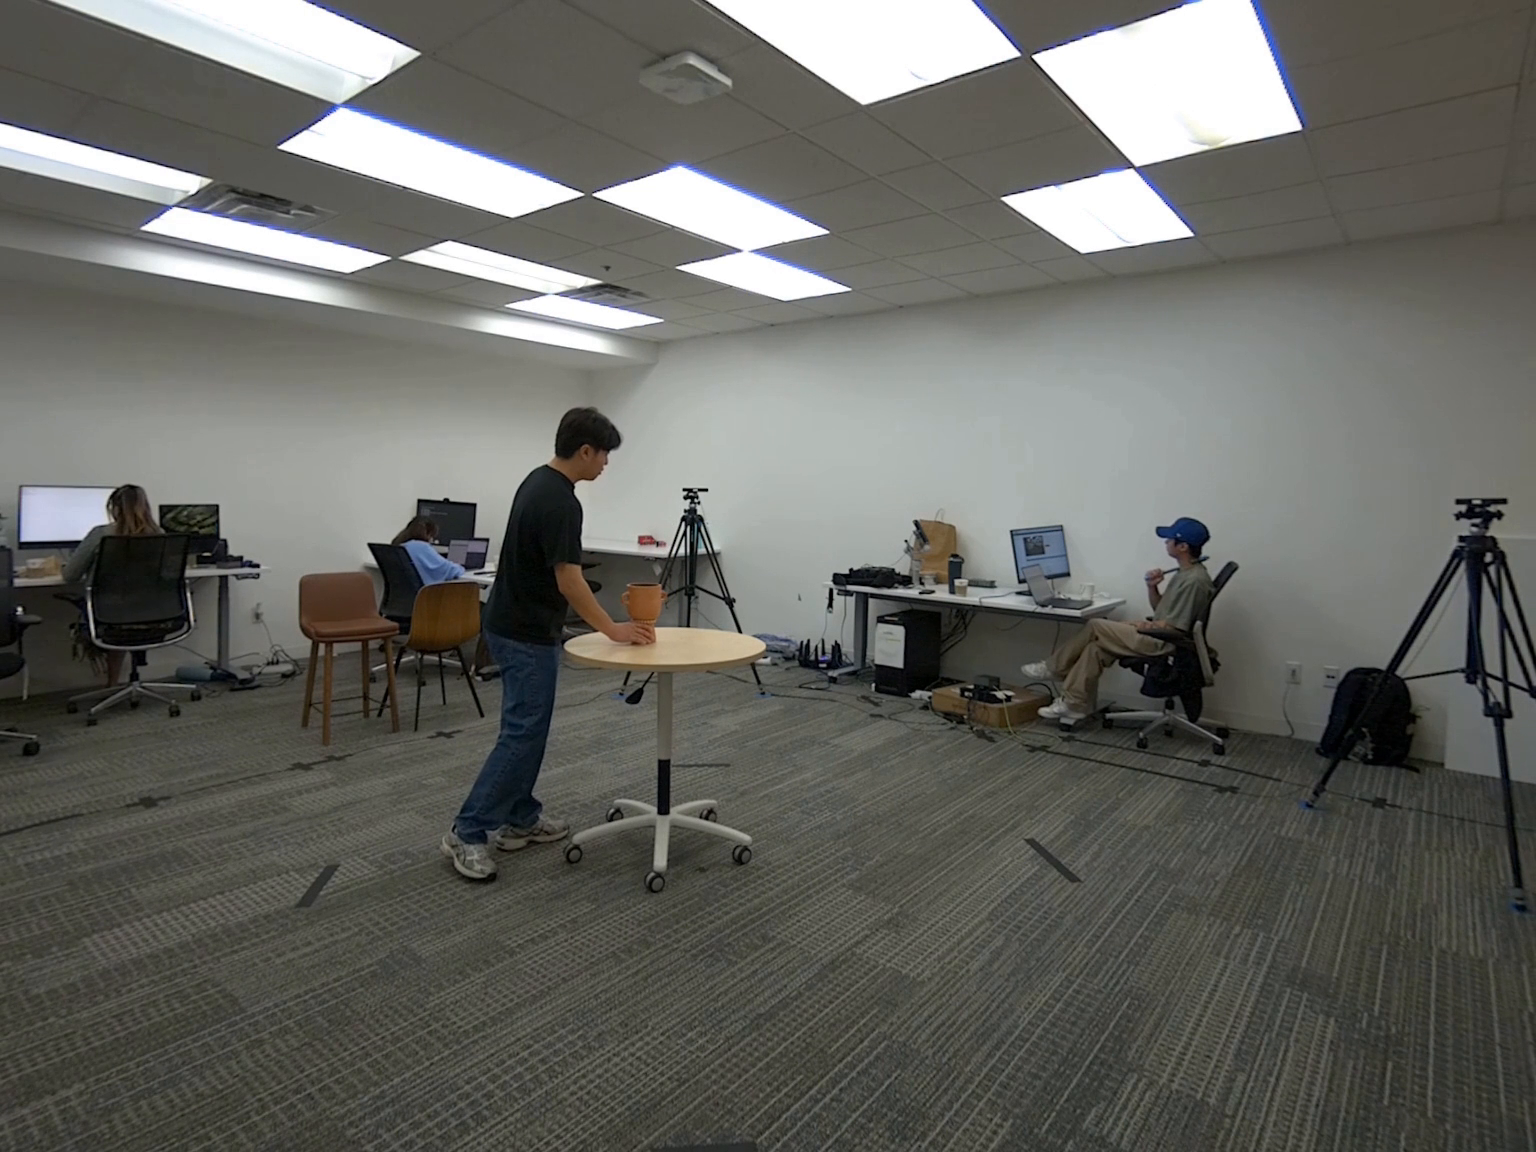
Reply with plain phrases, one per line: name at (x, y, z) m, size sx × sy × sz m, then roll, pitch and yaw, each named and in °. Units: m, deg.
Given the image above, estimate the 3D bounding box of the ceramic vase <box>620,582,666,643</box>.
ceramic vase at (-0.498, 0.144, 3.281) m, size 0.160 × 0.219 × 0.134 m, roll 2°, pitch 4°, yaw 7°
